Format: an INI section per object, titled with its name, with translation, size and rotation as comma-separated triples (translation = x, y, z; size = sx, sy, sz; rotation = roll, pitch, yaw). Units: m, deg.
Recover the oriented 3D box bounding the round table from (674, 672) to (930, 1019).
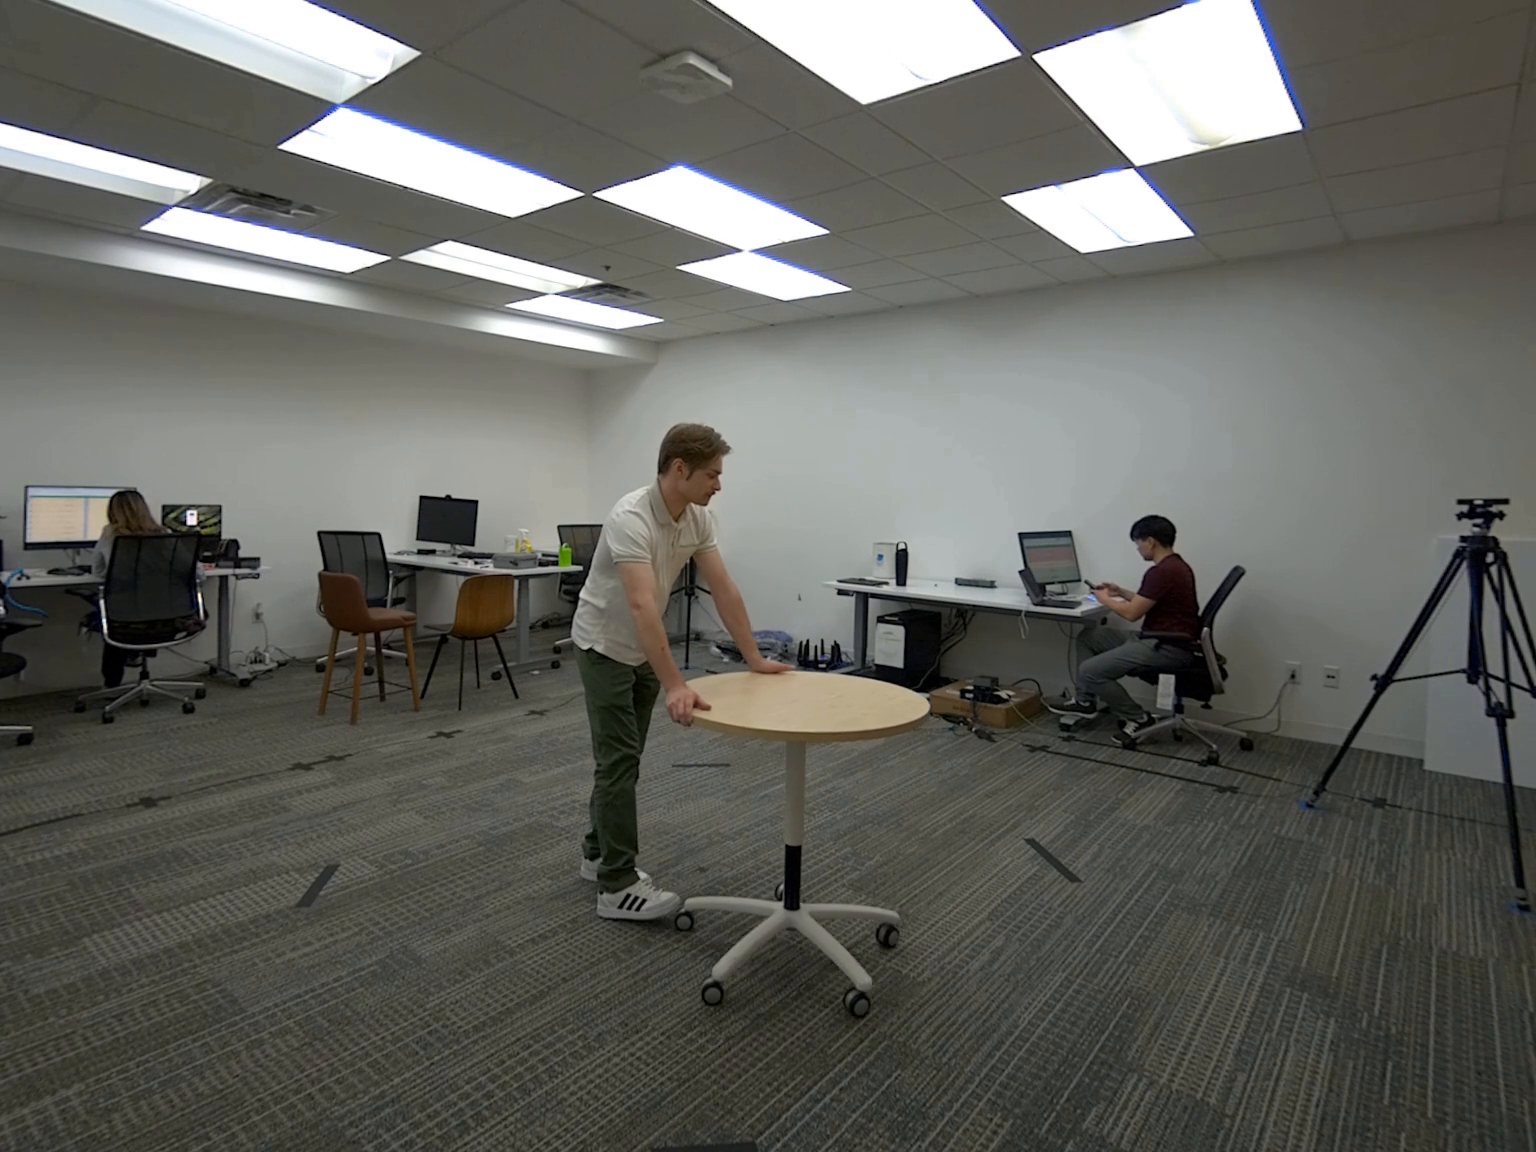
[round table]
translation = 0.070, 0.747, 2.538
size = 0.763, 0.791, 0.768
rotation = 1, 4, -2
